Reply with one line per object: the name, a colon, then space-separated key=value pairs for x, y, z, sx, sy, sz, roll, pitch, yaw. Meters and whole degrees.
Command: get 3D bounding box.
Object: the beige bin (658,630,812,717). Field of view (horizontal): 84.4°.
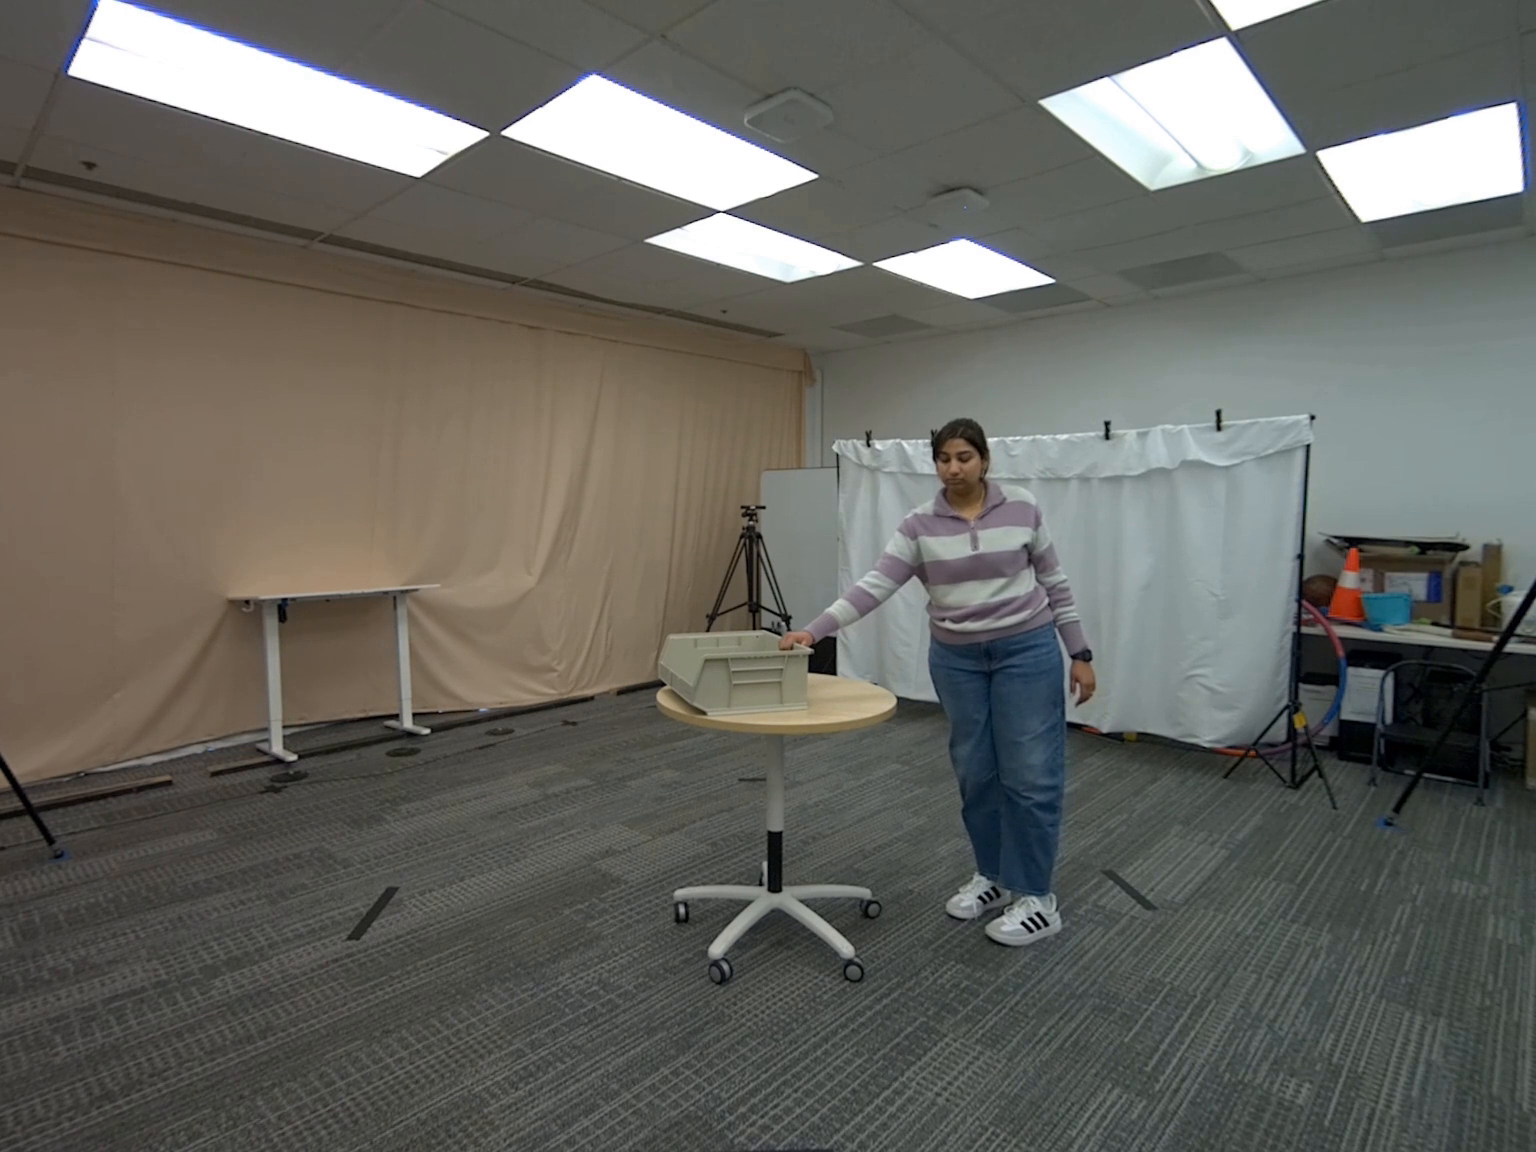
beige bin: x=-0.112 y=0.301 z=2.659 sx=0.370 sy=0.189 sz=0.431 roll=0 pitch=3 yaw=-19
